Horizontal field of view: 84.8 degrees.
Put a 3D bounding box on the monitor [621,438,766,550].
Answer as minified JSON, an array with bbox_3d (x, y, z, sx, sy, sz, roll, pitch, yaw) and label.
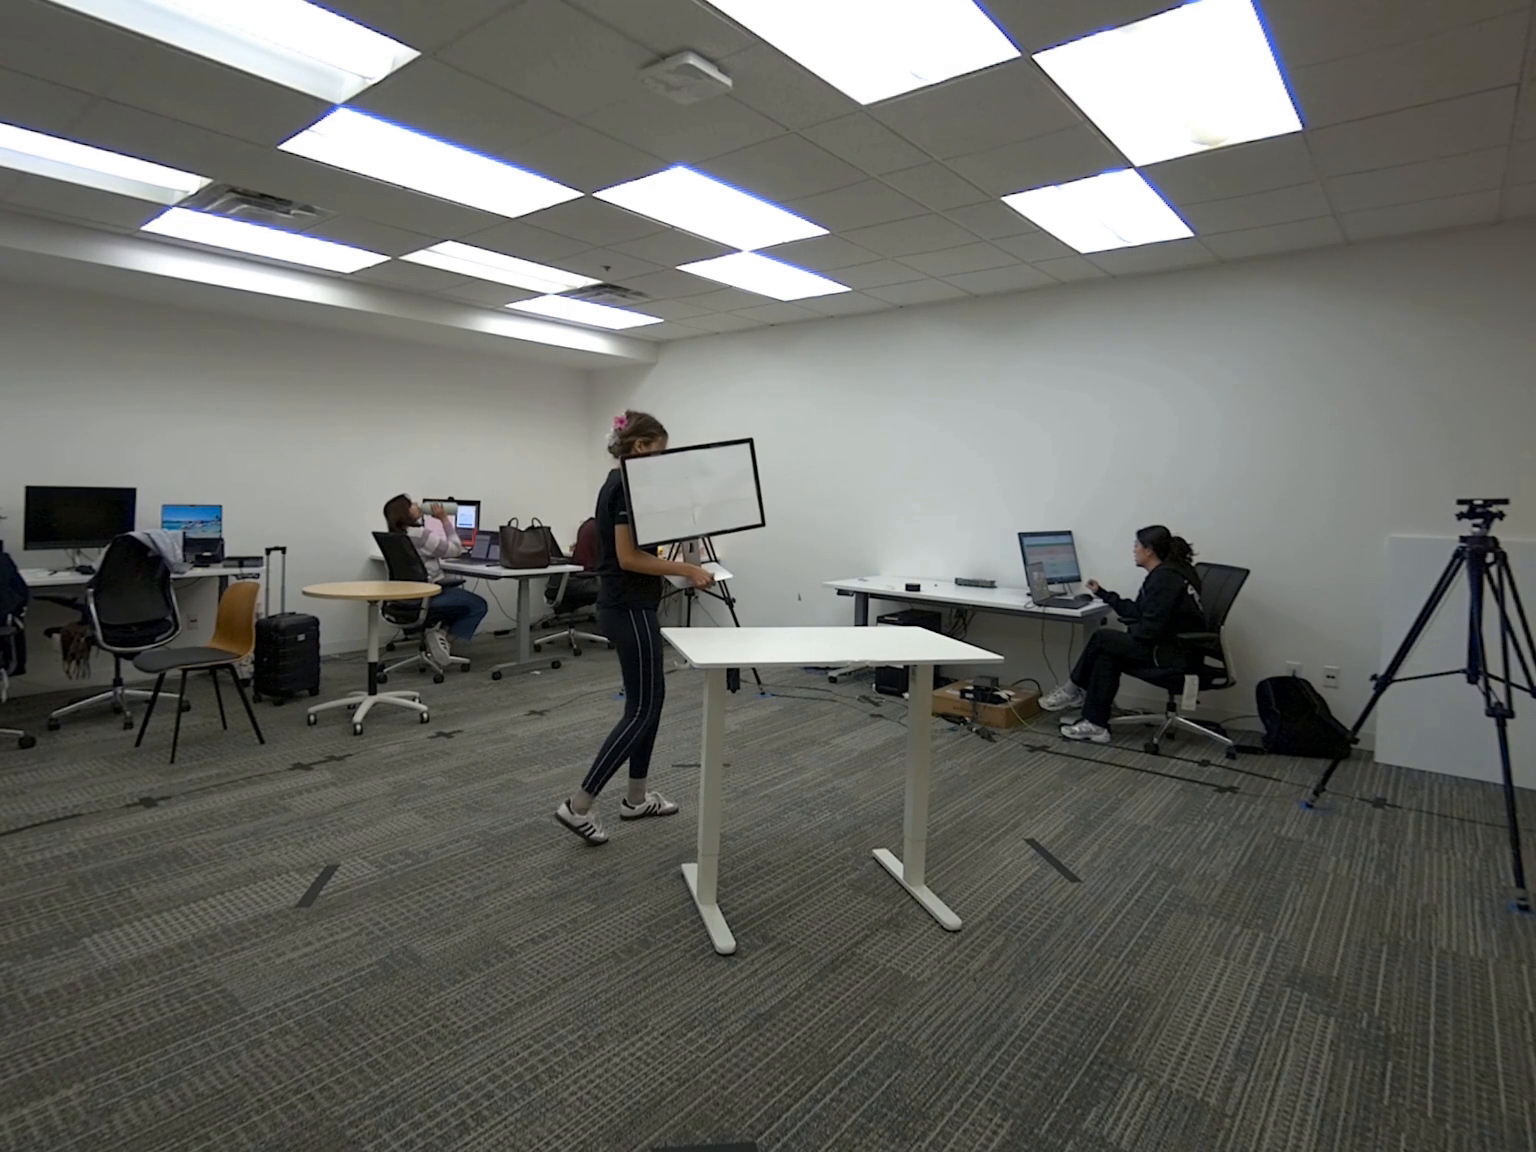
[{"bbox_3d":[-0.308,-0.253,3.385,0.529,0.514,0.193,-11,17,-24],"label":"monitor"}]
